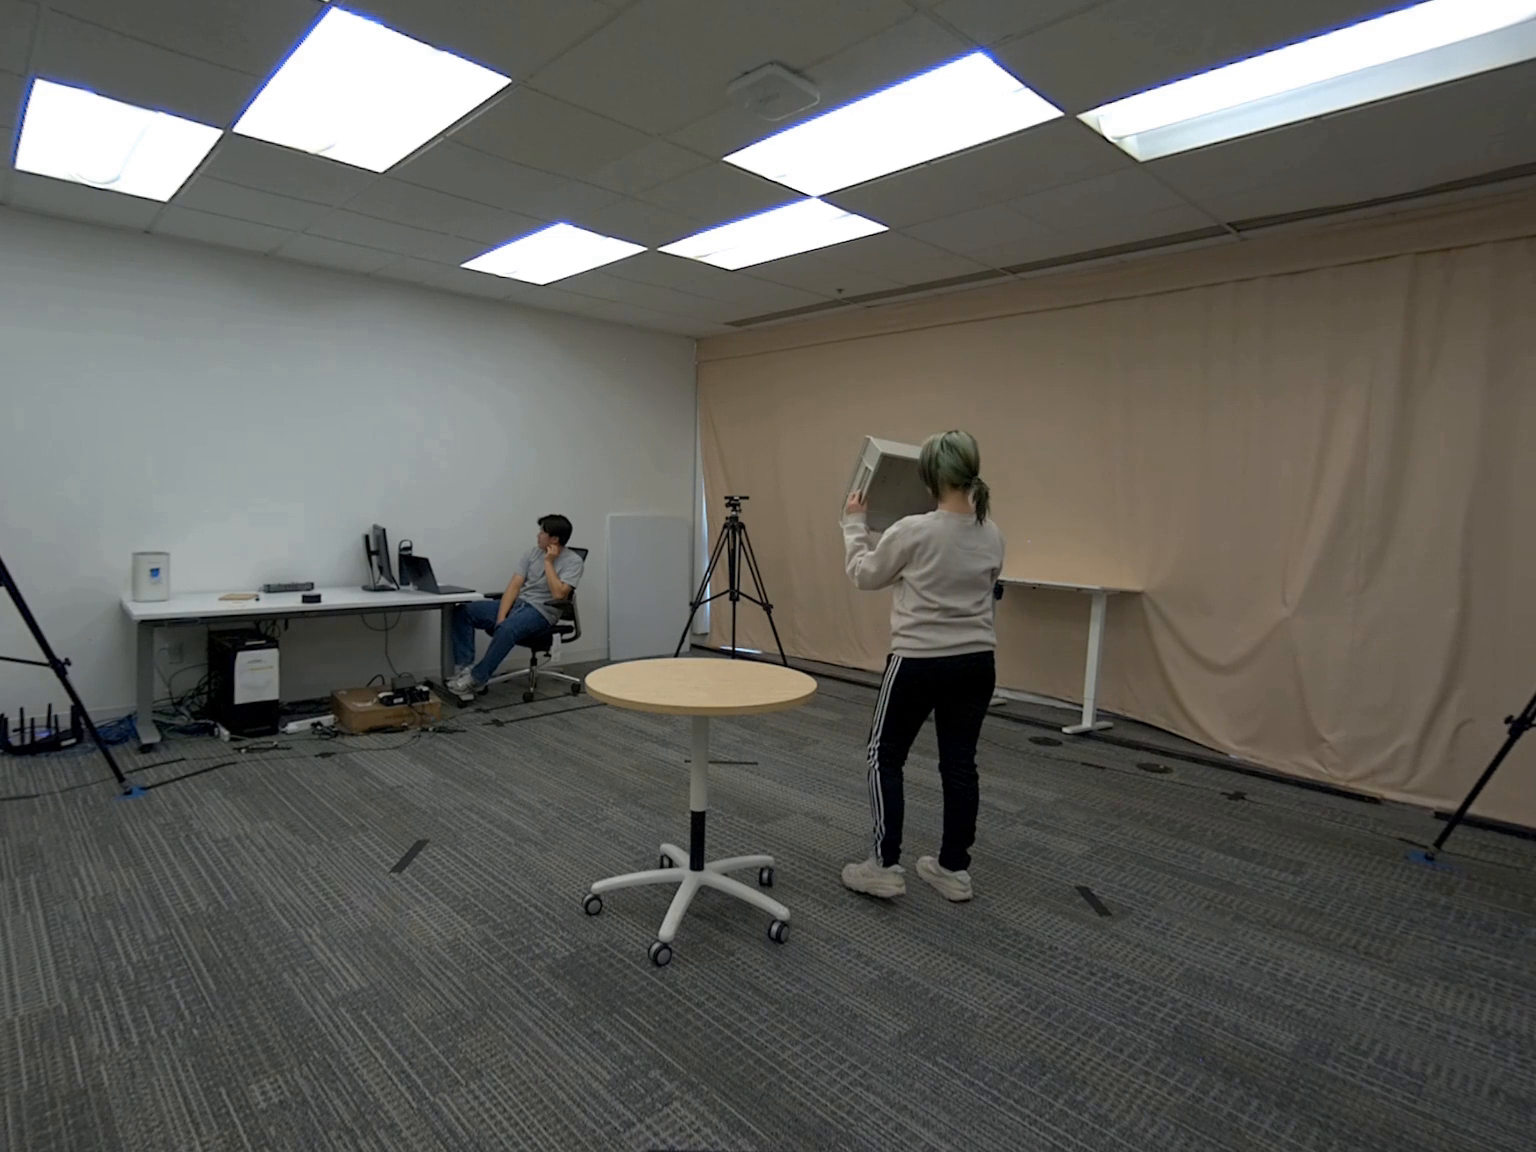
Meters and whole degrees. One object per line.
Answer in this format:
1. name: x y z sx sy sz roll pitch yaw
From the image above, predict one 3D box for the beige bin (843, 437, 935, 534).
1. beige bin: 0.529 -0.315 3.286 0.415 0.373 0.194 8 26 -19
